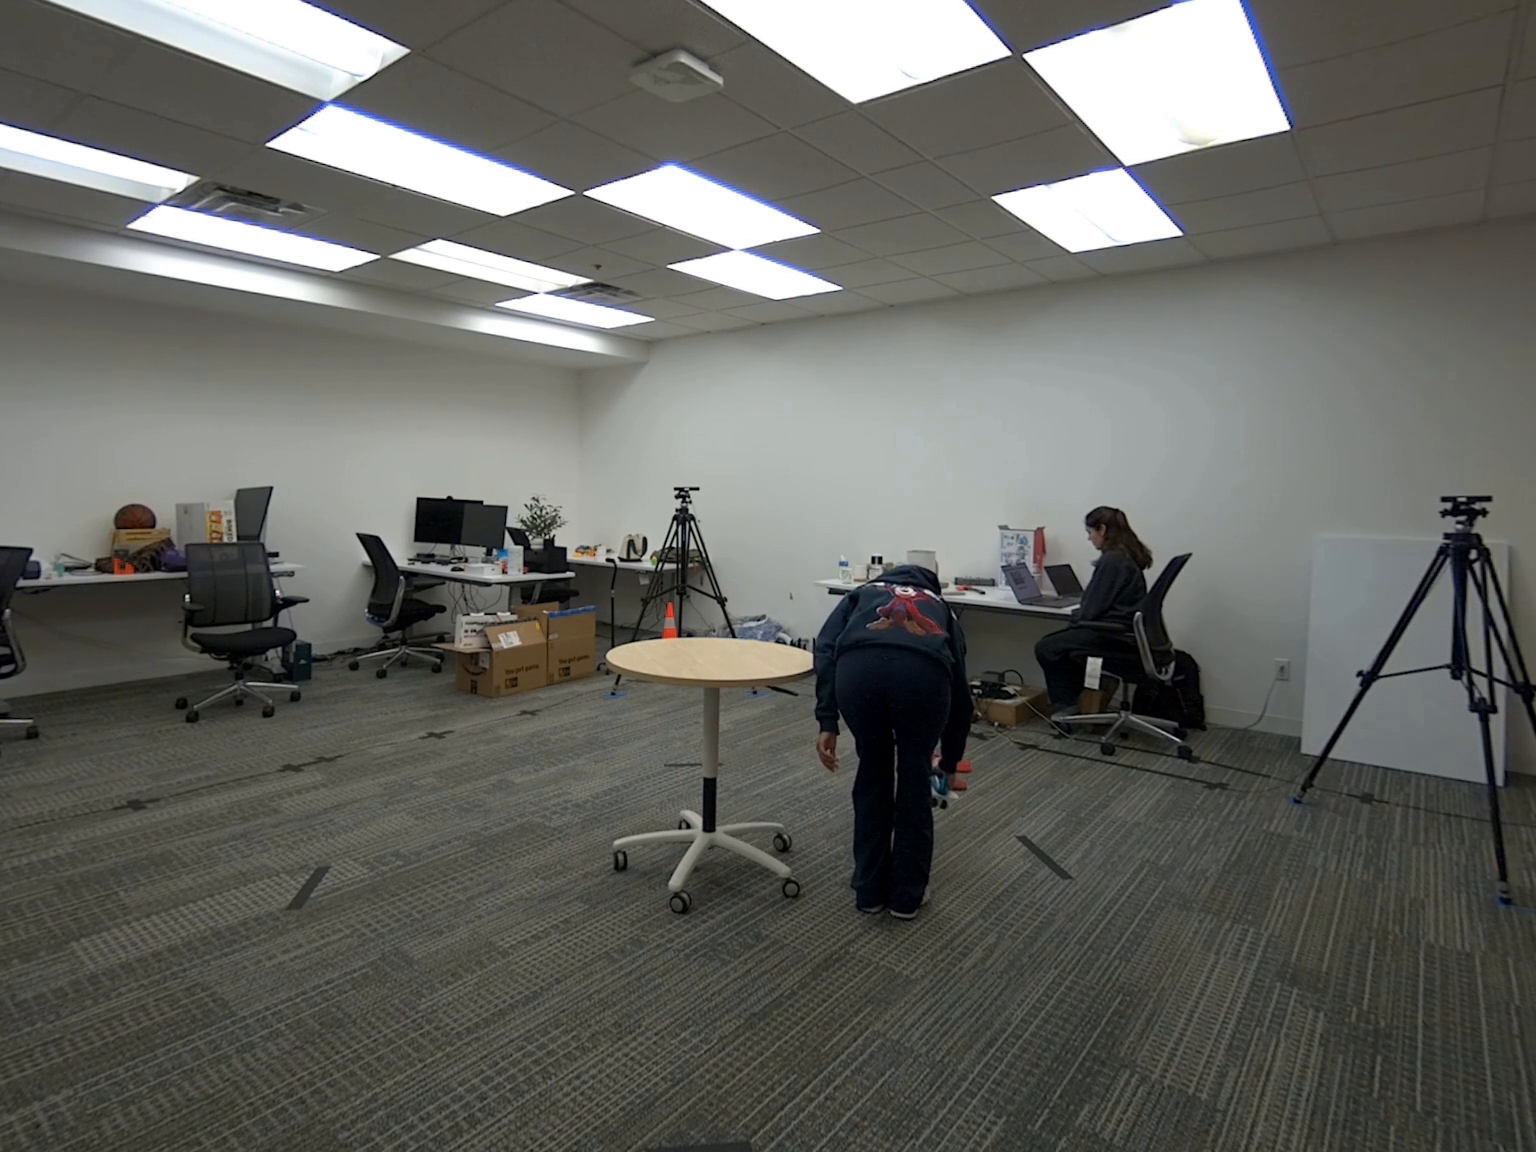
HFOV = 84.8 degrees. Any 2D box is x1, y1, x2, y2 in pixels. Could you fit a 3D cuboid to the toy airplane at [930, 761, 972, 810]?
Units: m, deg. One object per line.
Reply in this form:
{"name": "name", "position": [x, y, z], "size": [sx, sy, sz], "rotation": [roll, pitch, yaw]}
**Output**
{"name": "toy airplane", "position": [0.634, 0.753, 3.164], "size": [0.244, 0.156, 0.267], "rotation": [8, 2, -27]}
